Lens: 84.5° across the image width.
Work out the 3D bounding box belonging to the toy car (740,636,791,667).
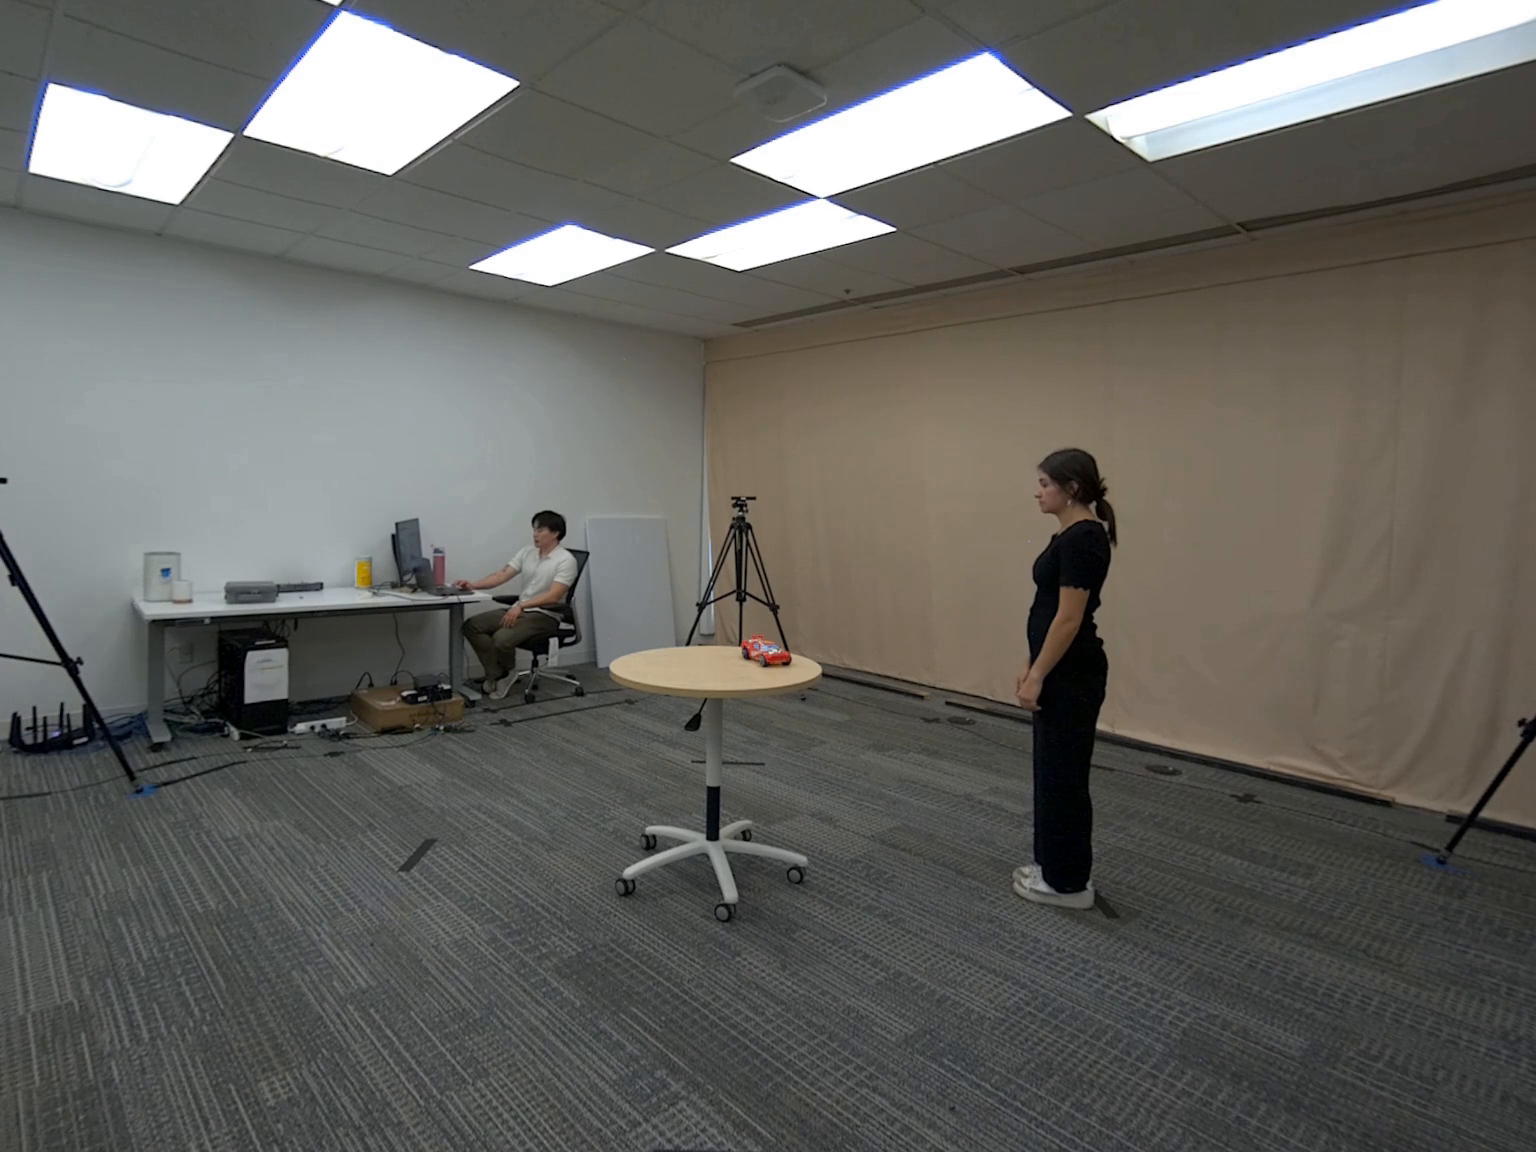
[{"bbox_3d":[-0.025,0.282,3.154,0.128,0.082,0.261,-2,17,-26],"label":"toy car"}]
